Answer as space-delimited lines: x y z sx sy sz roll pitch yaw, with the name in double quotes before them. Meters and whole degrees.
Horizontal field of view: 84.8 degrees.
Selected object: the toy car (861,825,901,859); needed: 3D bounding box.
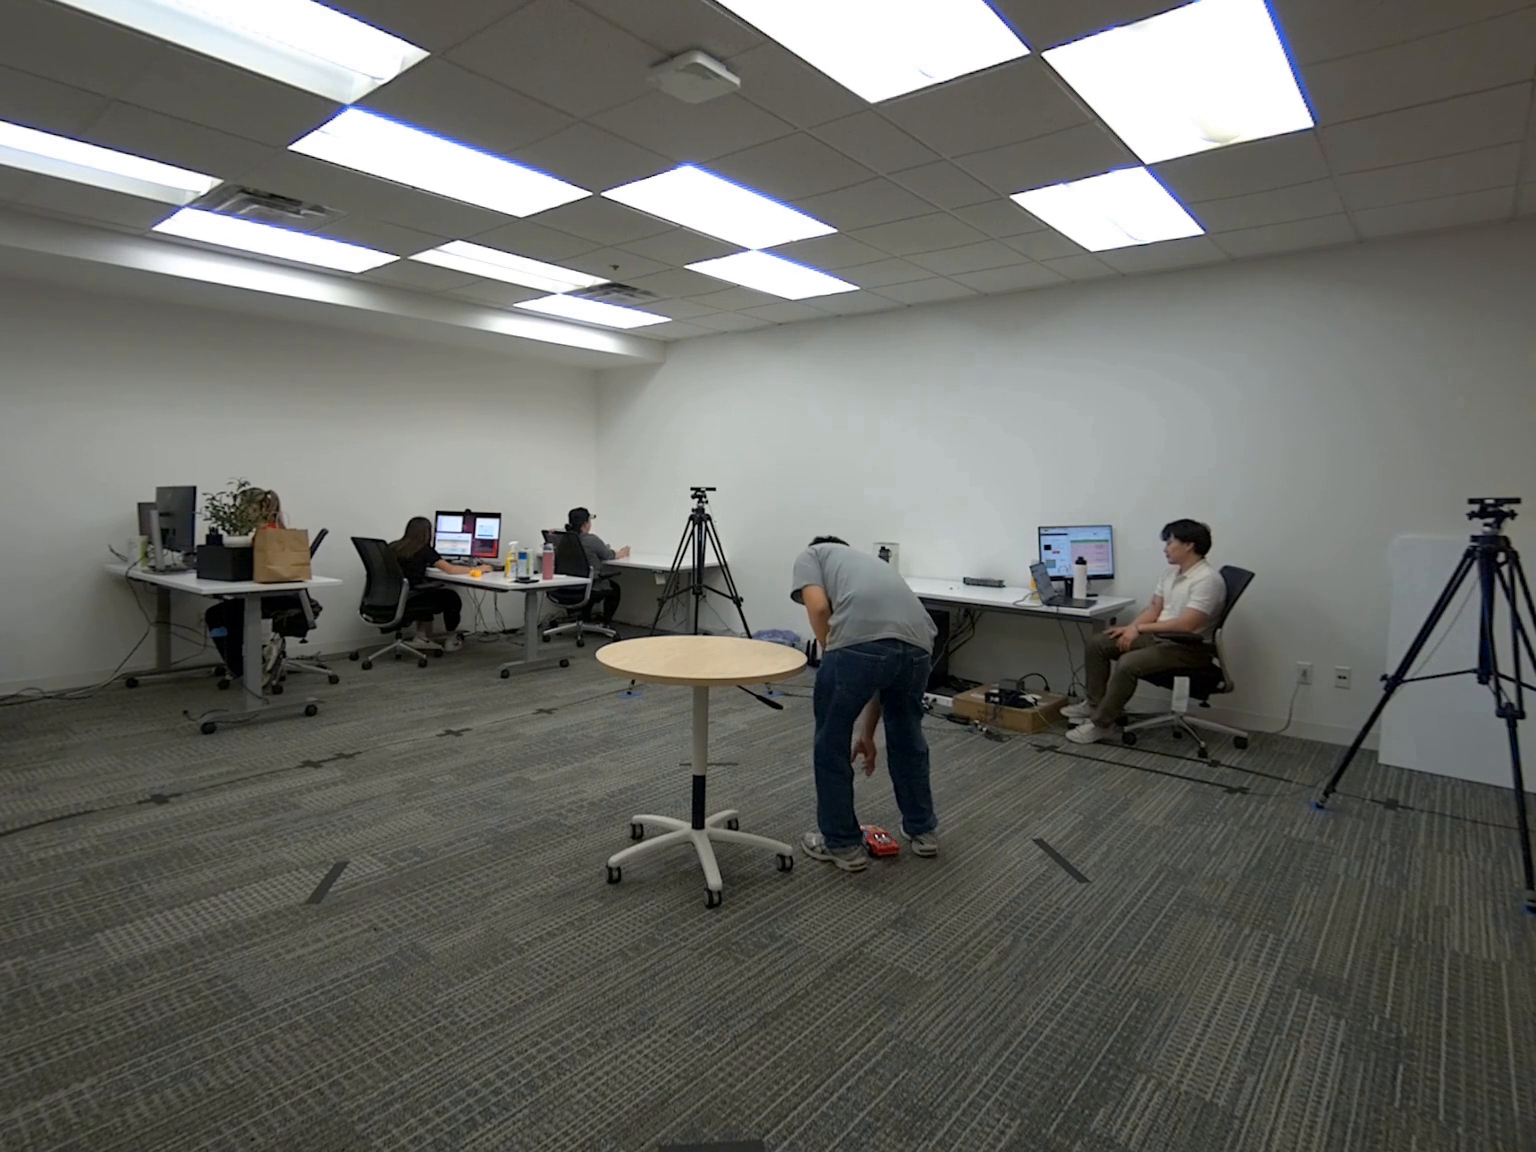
"toy car" 0.411 1.027 3.312 0.128 0.084 0.257 1 -6 -18
